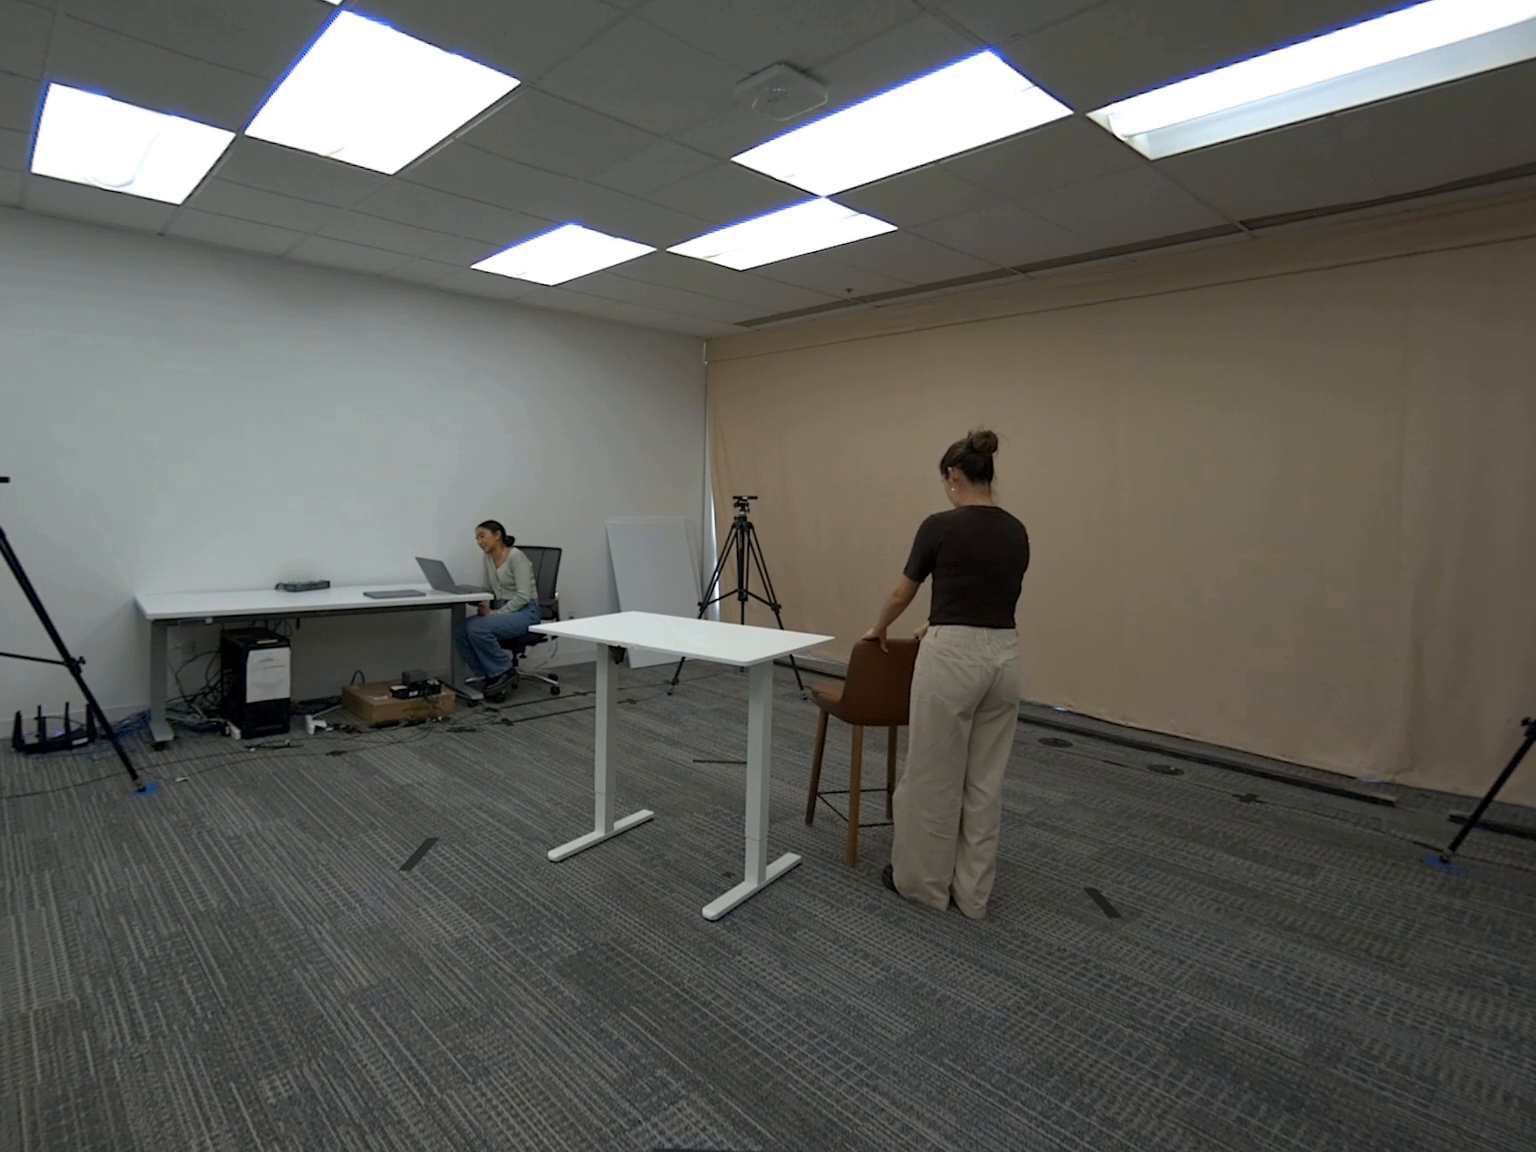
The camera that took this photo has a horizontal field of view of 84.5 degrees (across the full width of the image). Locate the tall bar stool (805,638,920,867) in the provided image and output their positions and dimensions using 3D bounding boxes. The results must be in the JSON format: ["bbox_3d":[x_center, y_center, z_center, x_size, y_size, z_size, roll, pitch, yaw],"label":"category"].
[{"bbox_3d":[0.431,0.650,3.418,0.451,0.886,0.475,1,6,-17],"label":"tall bar stool"}]
